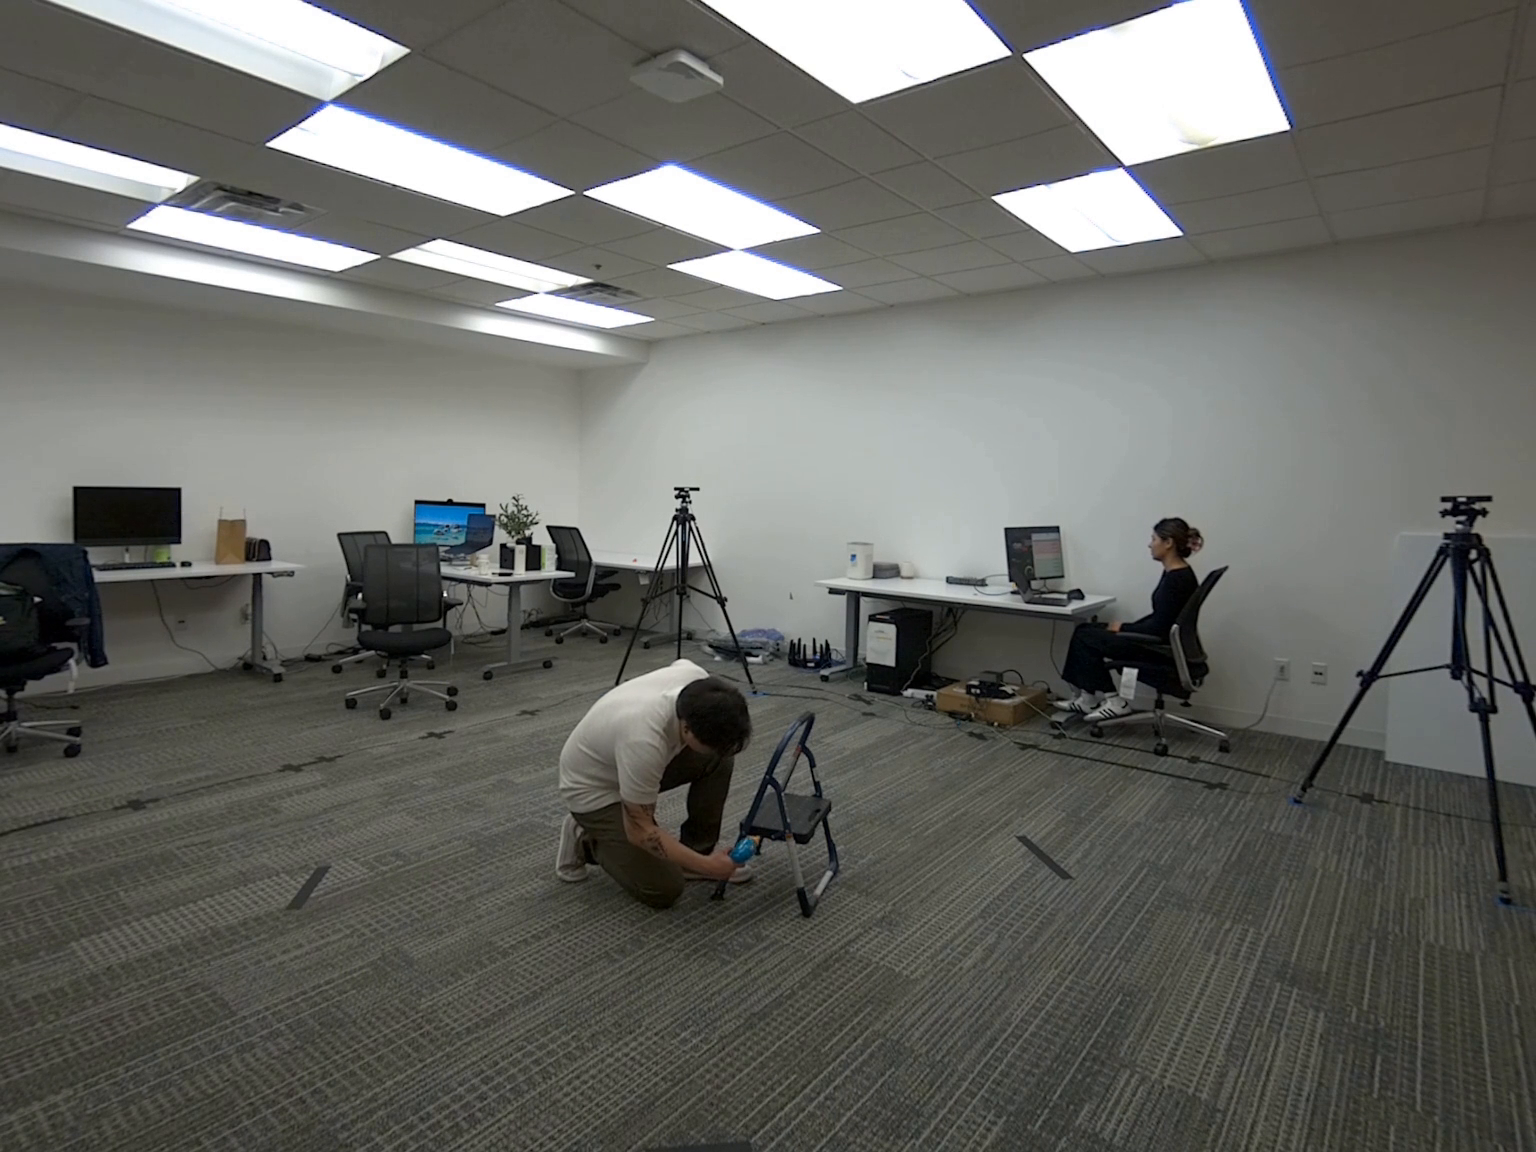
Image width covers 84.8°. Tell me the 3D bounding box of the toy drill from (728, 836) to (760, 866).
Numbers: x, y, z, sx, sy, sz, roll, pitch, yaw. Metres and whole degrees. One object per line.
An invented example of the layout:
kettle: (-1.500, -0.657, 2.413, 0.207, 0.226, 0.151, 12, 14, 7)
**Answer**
toy drill: (-0.108, 0.880, 2.728, 0.148, 0.061, 0.166, -22, -2, 30)
